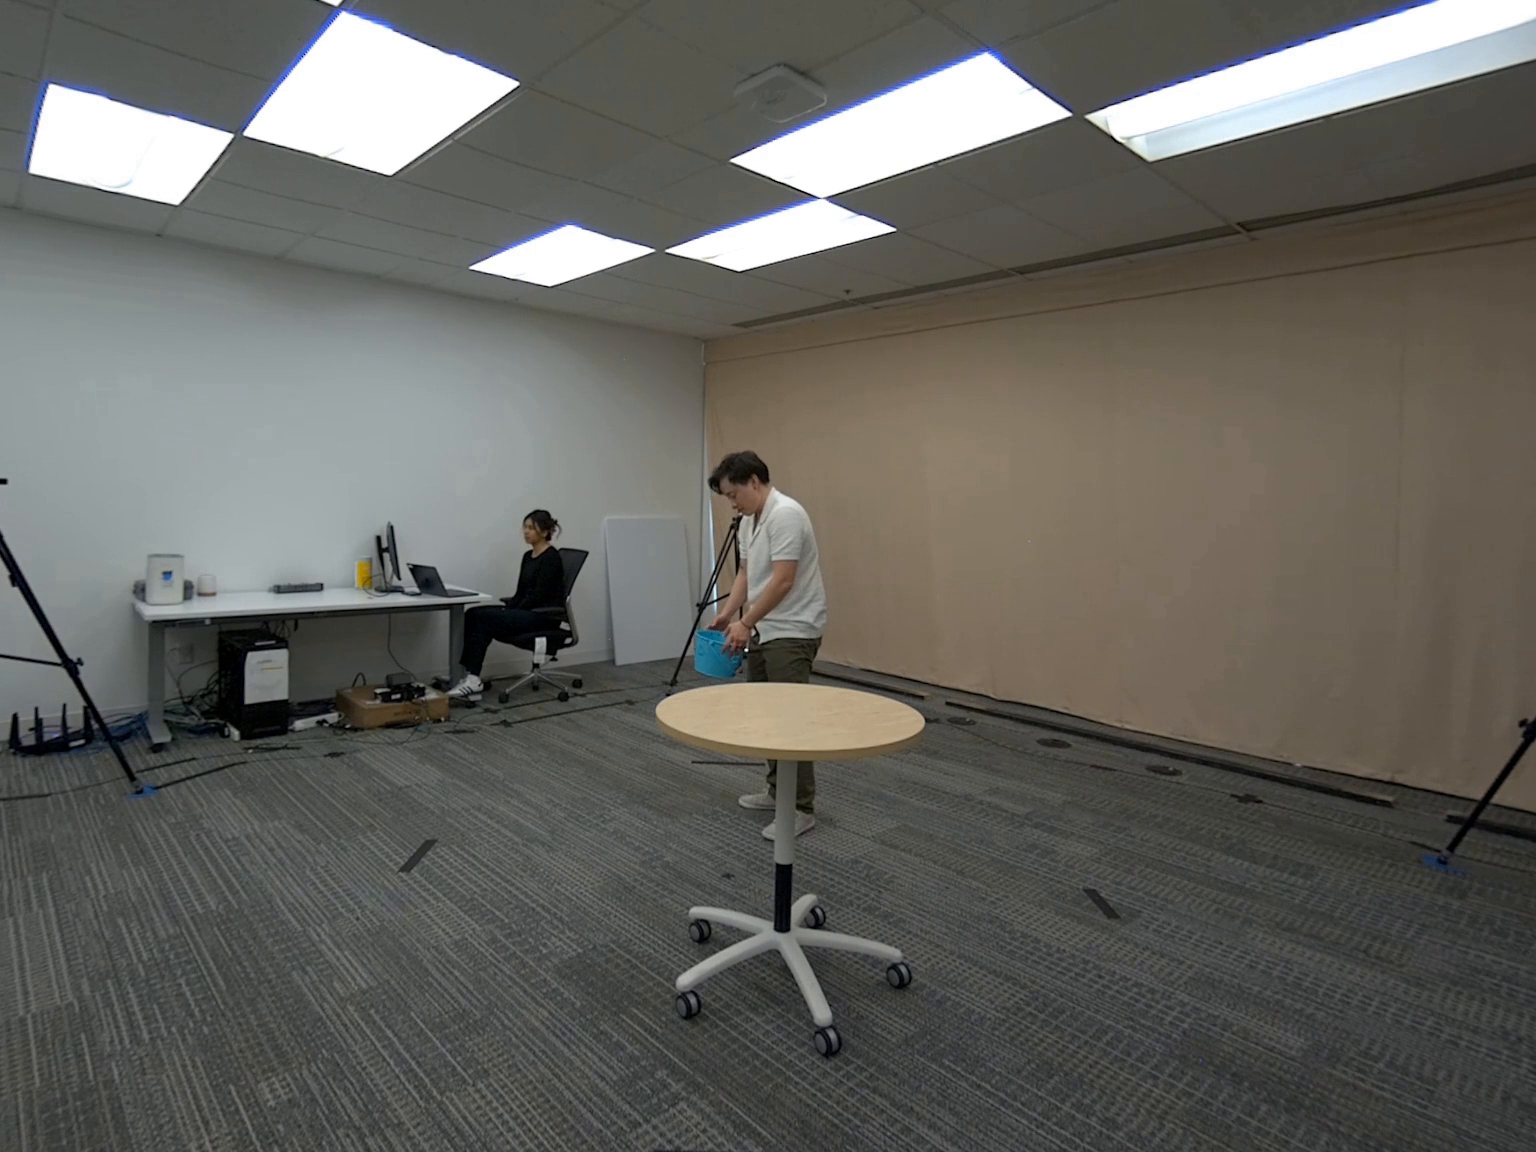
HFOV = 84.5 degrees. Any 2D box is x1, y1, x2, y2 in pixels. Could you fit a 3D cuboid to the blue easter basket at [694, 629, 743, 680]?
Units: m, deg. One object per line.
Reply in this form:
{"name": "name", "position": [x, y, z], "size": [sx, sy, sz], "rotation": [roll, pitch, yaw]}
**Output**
{"name": "blue easter basket", "position": [-0.214, 0.338, 3.630], "size": [0.243, 0.155, 0.245], "rotation": [10, 6, -2]}
